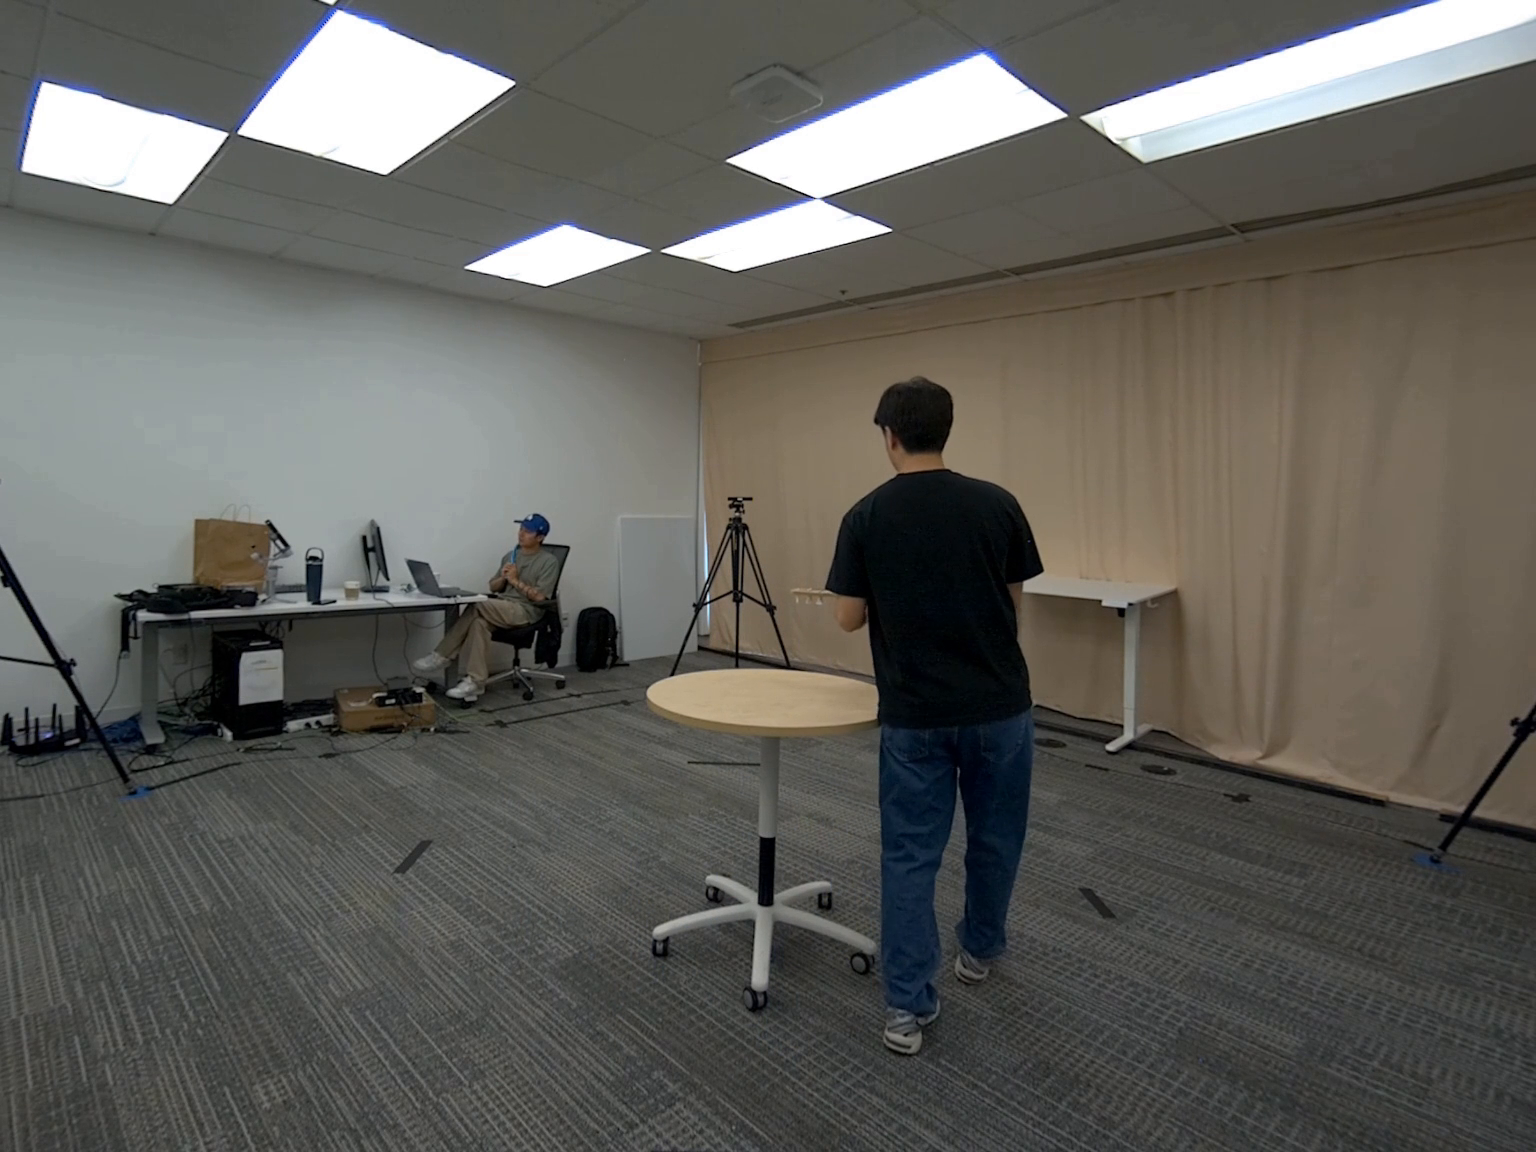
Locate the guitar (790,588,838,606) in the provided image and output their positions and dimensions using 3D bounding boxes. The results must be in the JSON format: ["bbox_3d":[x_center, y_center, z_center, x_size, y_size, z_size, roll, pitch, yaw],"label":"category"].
[{"bbox_3d":[0.323,0.093,2.711,0.506,0.070,0.191,4,9,22],"label":"guitar"}]
